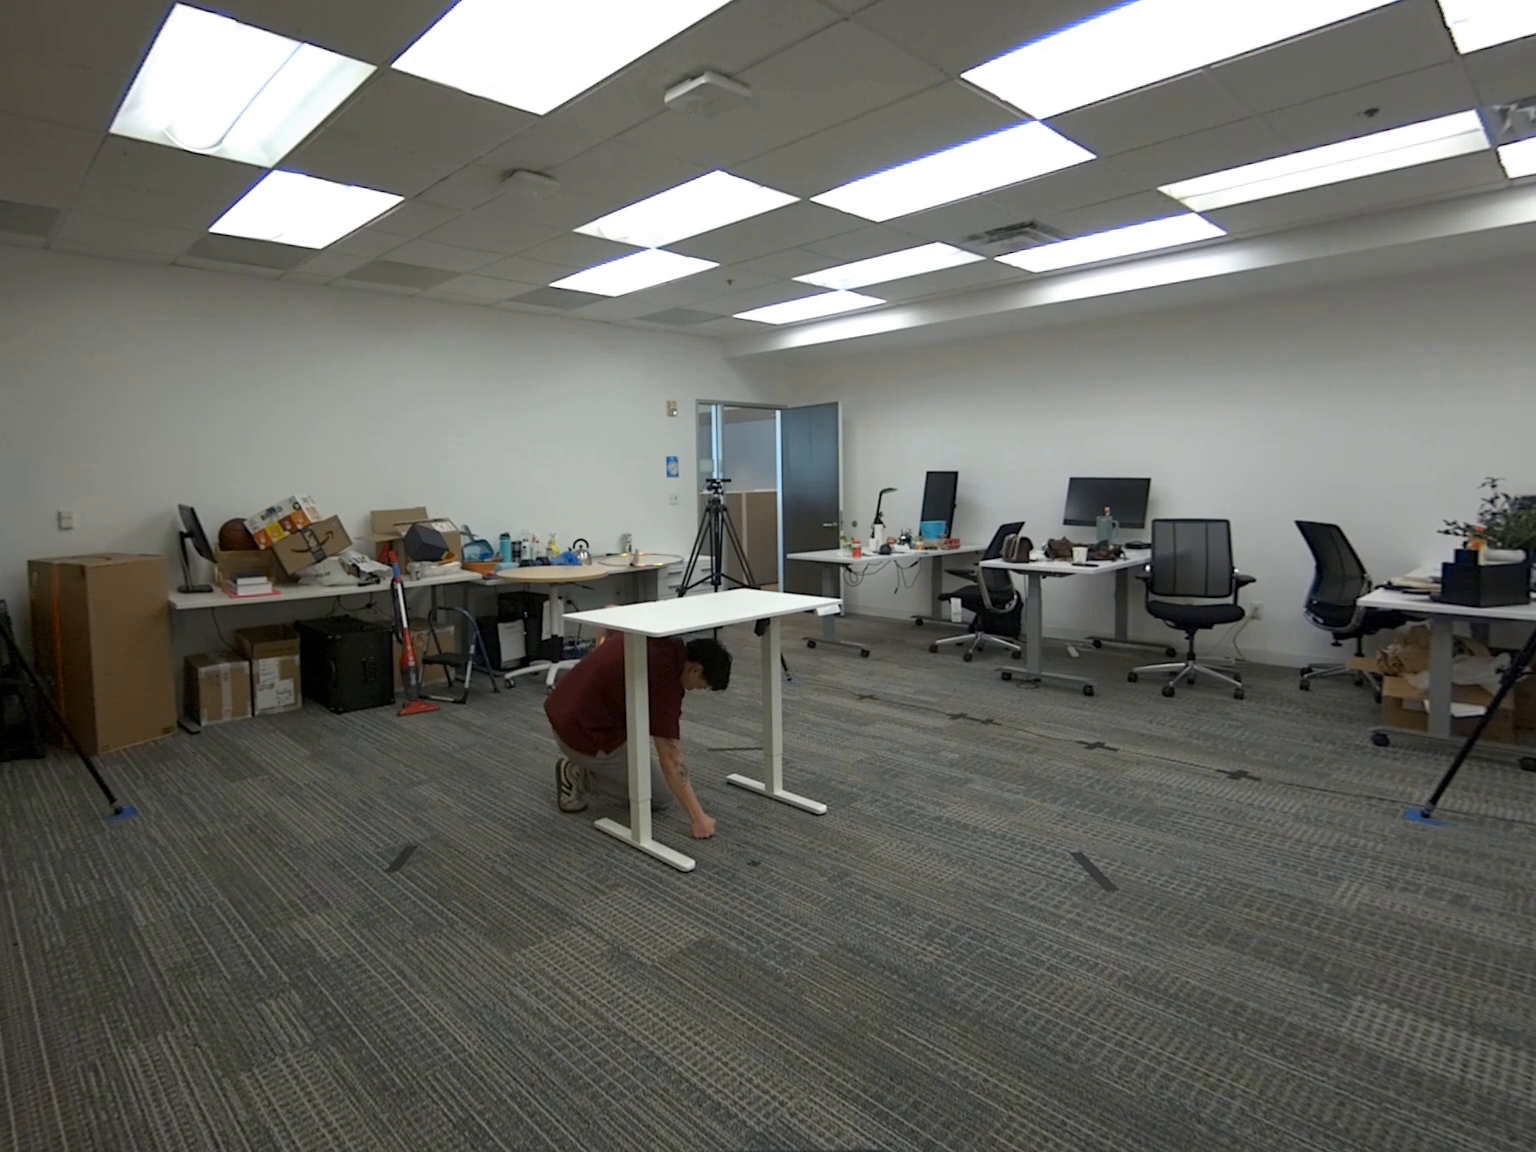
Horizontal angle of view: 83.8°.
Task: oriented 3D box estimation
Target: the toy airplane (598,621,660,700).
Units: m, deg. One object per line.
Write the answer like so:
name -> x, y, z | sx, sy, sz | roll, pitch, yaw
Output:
toy airplane -> -0.649, 0.375, 3.851 | 0.257, 0.248, 0.159 | 14, 17, -6
